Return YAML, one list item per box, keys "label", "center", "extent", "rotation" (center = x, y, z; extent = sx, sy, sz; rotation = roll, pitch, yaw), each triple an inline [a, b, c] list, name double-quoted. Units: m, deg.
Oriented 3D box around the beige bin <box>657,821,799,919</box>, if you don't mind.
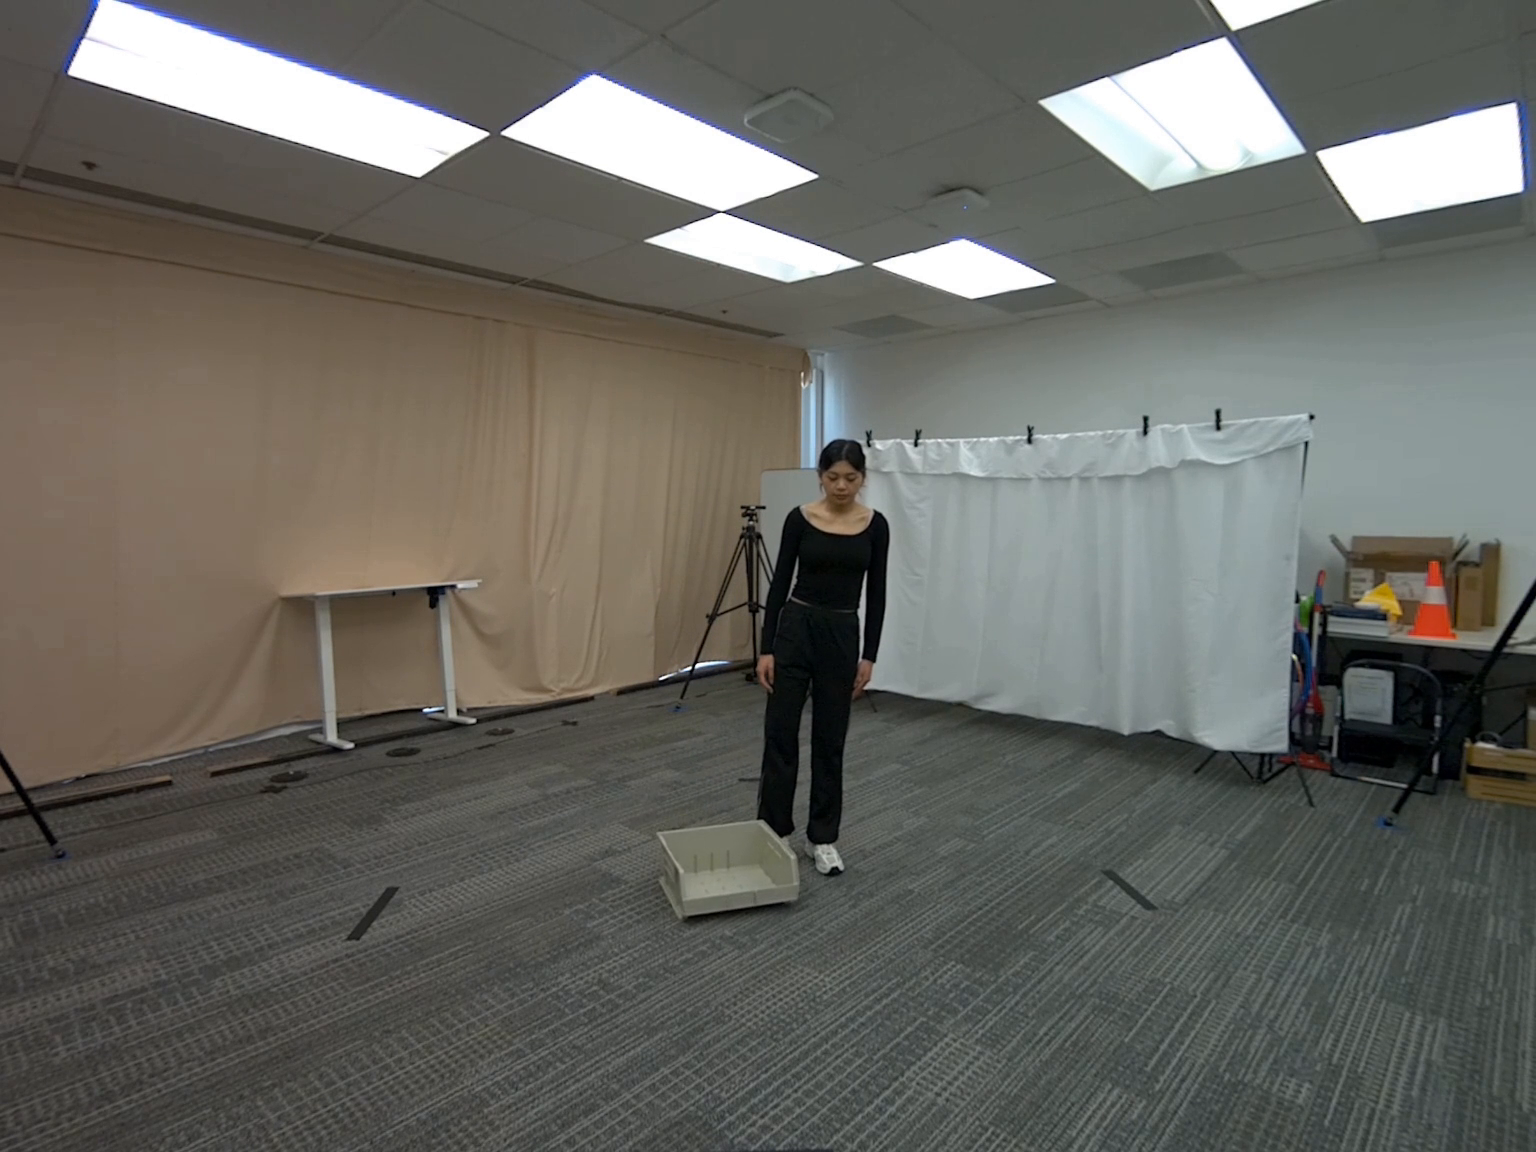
- label: "beige bin"
  center: [-0.150, 1.053, 3.014]
  extent: [0.415, 0.188, 0.385]
  rotation: [-2, 5, -19]
